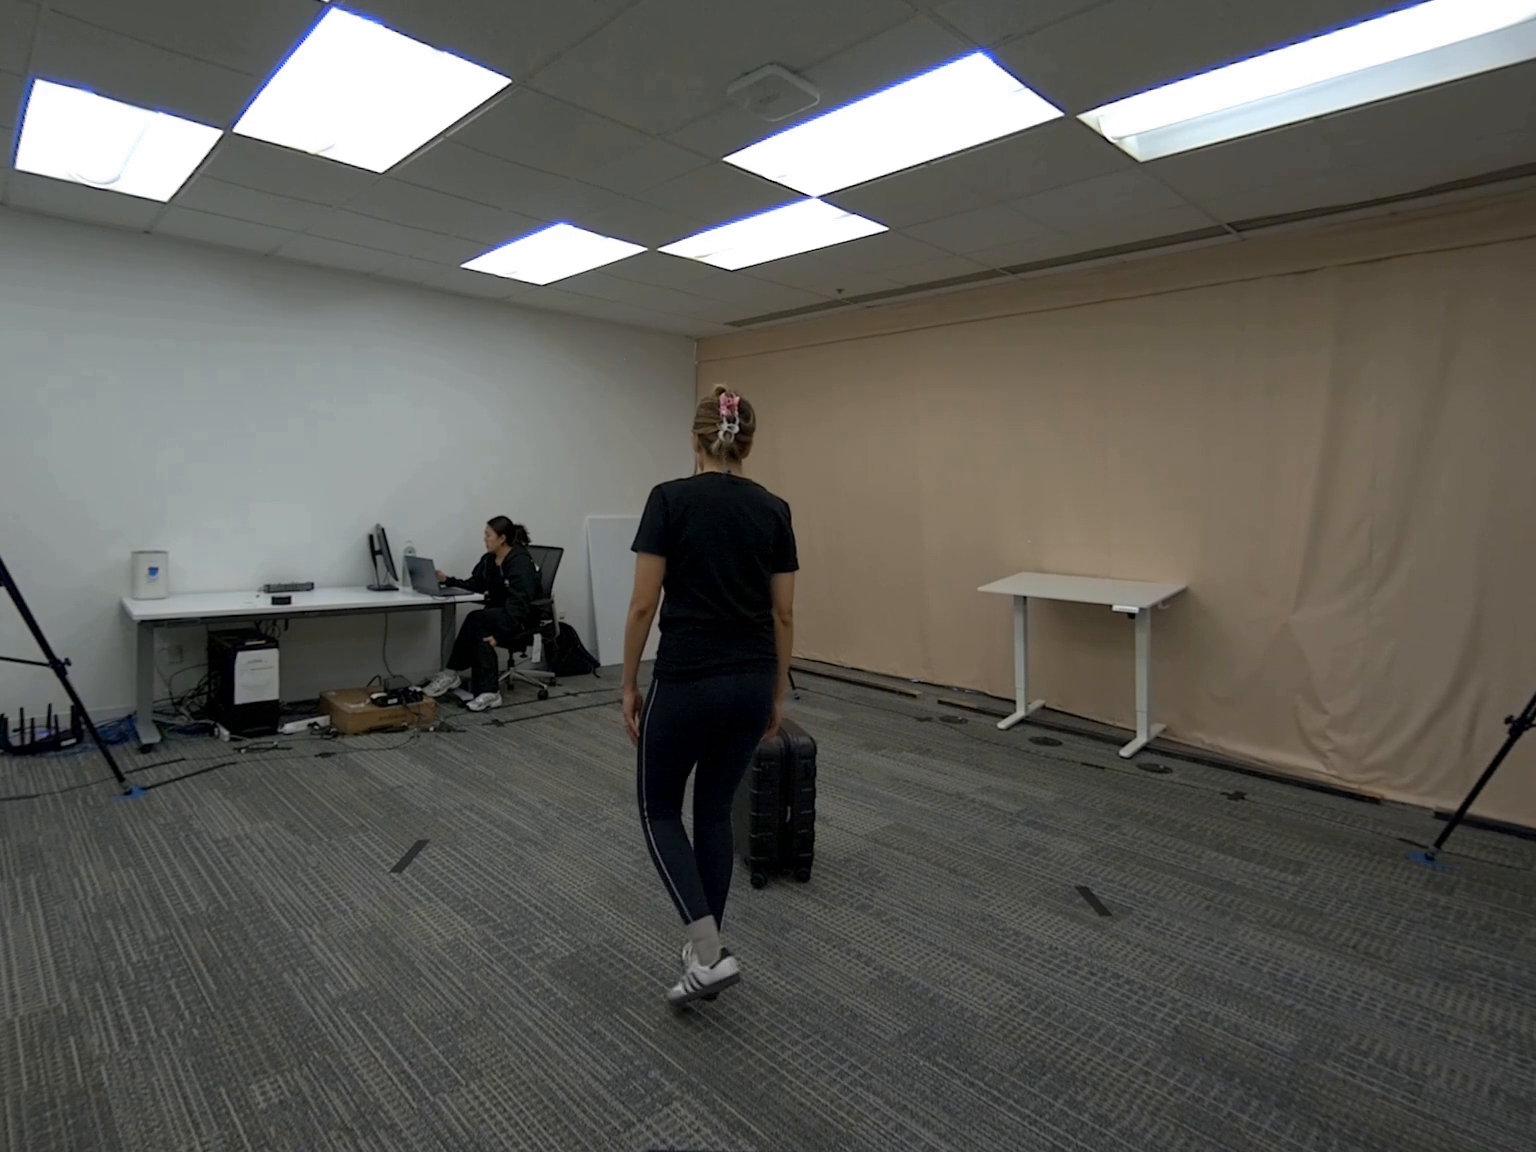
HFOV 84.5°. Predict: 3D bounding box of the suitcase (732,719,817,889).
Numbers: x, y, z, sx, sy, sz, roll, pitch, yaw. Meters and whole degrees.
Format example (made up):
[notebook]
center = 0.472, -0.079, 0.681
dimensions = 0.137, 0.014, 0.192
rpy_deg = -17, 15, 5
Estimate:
[suitcase]
center = 0.026, 0.625, 3.170
dimensions = 0.254, 0.977, 0.388
rpy_deg = 3, 2, -13
